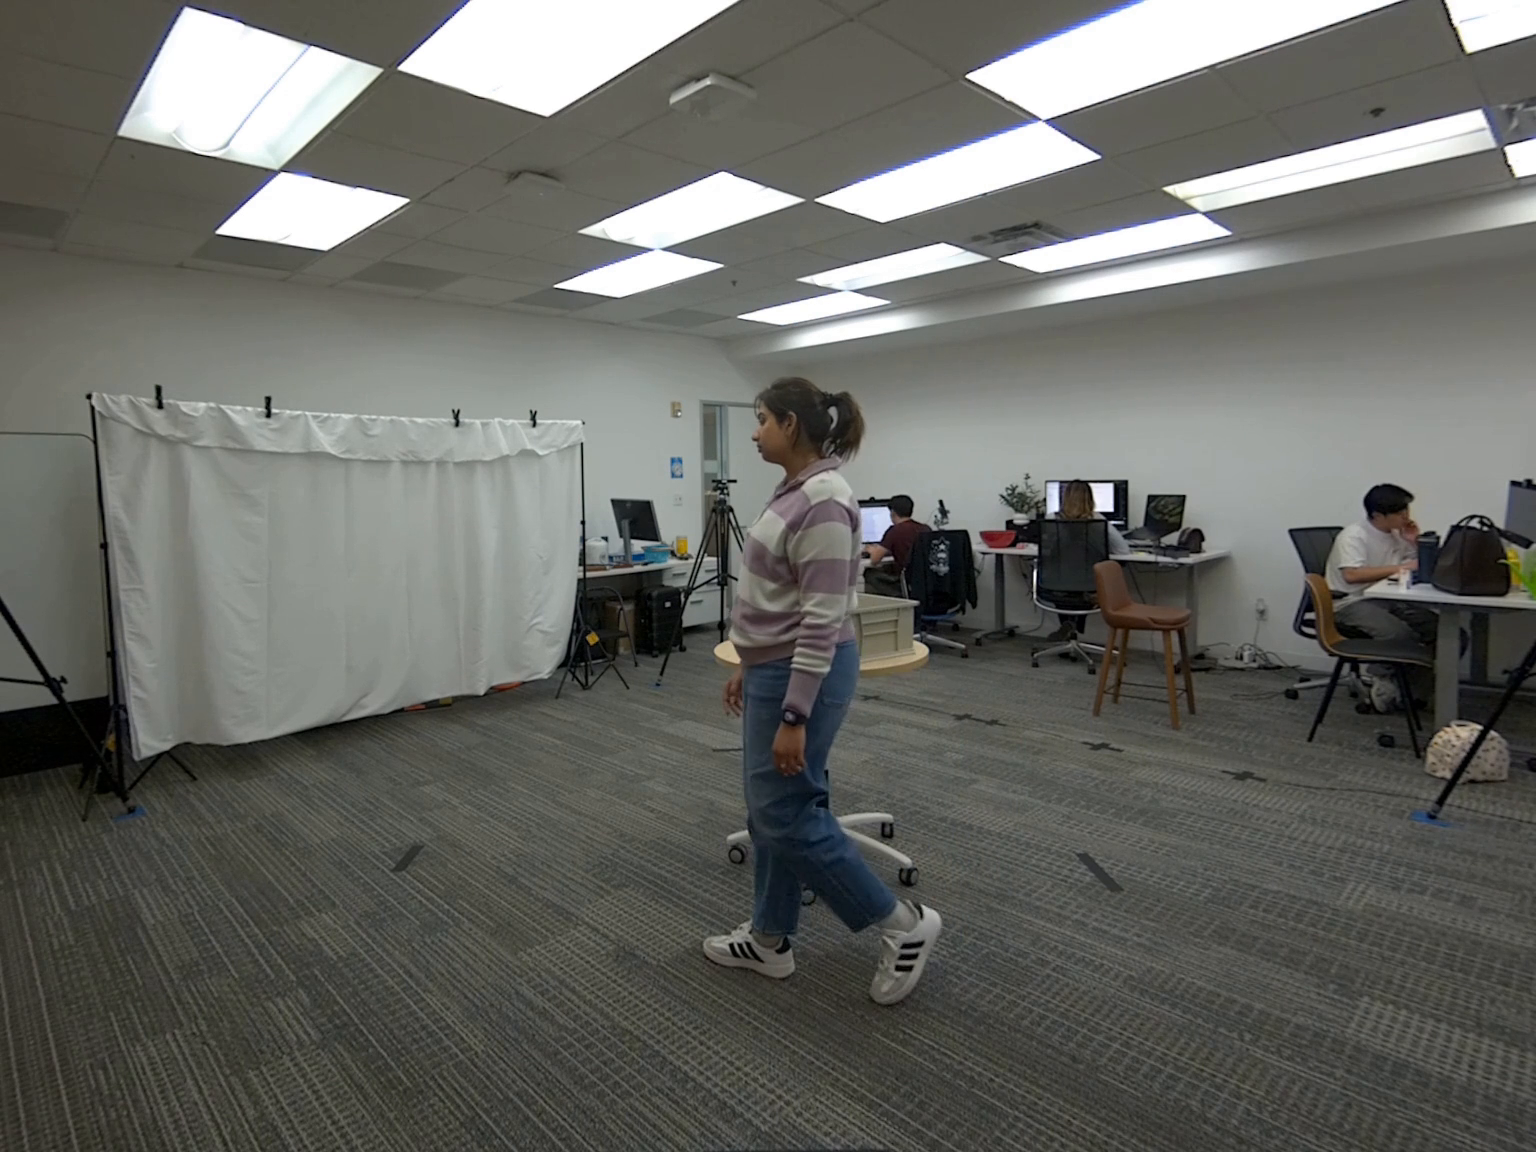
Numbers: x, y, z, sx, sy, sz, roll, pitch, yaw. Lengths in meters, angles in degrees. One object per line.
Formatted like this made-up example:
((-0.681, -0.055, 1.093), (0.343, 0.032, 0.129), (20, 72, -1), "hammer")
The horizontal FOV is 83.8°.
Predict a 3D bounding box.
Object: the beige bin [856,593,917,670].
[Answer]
((0.254, 0.178, 3.024), (0.368, 0.188, 0.434), (-4, 6, -33), "beige bin")
